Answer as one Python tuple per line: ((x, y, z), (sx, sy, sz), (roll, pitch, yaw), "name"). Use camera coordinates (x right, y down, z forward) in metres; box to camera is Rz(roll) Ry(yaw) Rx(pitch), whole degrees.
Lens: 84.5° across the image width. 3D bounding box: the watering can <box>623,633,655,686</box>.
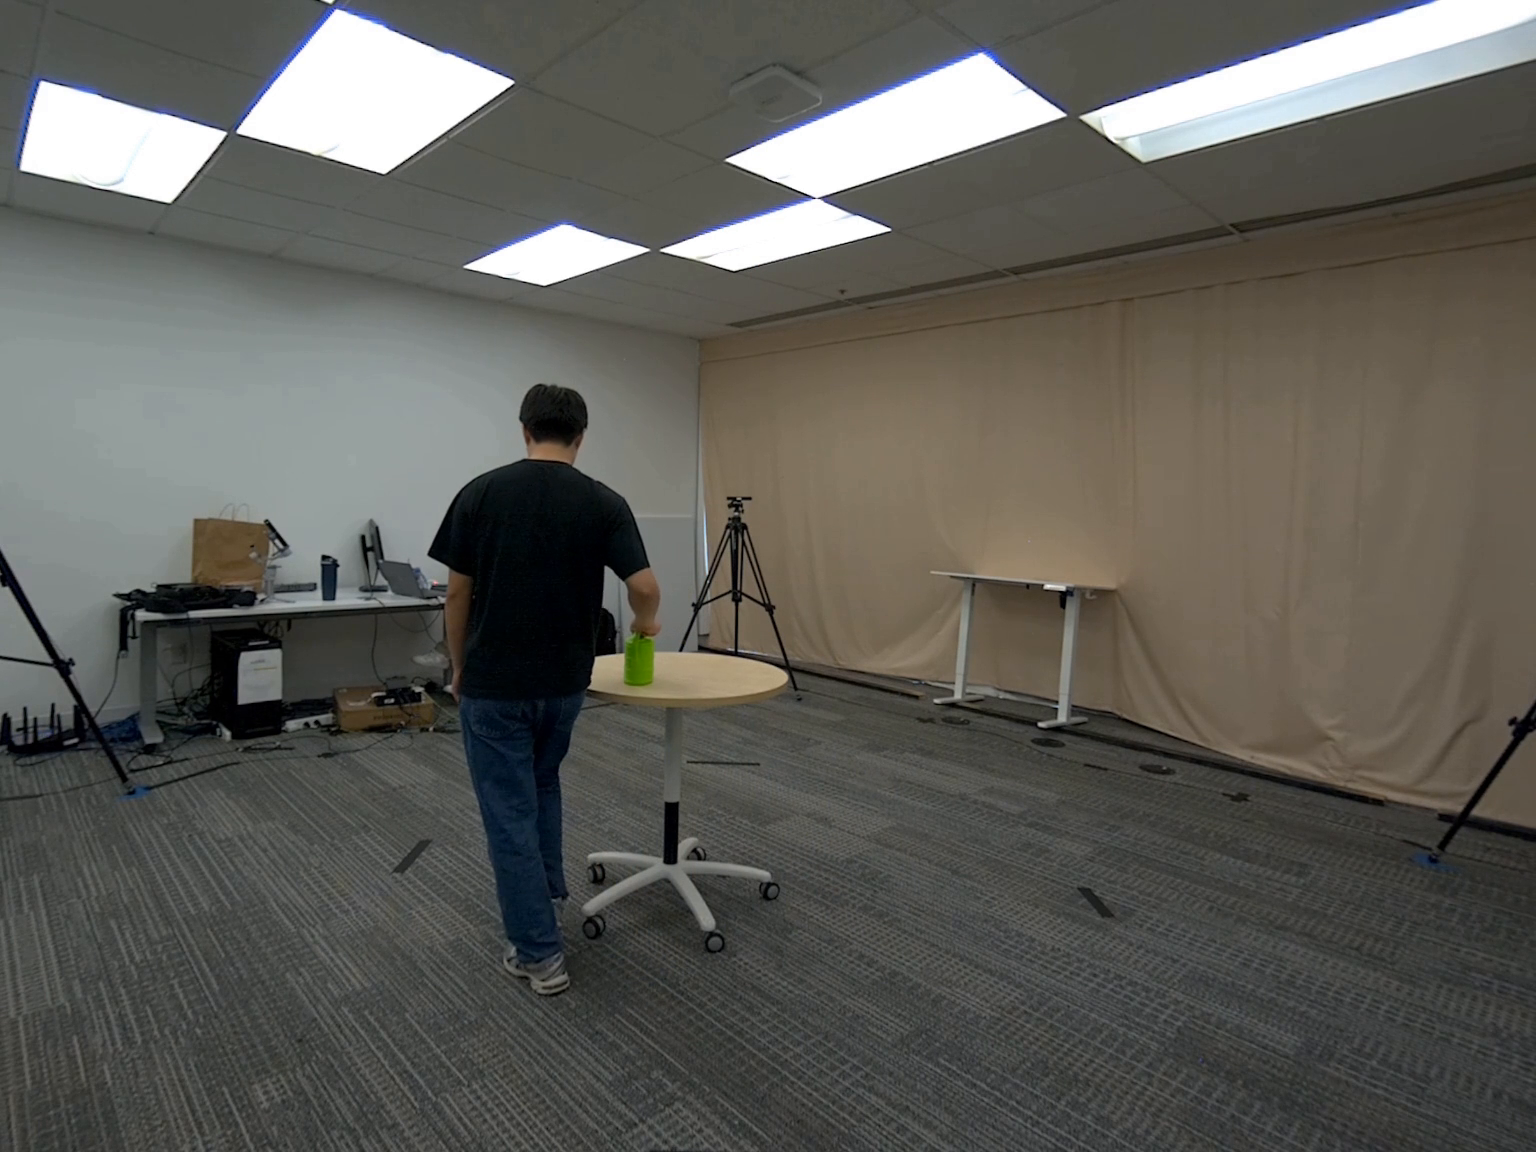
((-0.408, 0.256, 2.719), (0.099, 0.176, 0.276), (4, 6, 10), "watering can")
